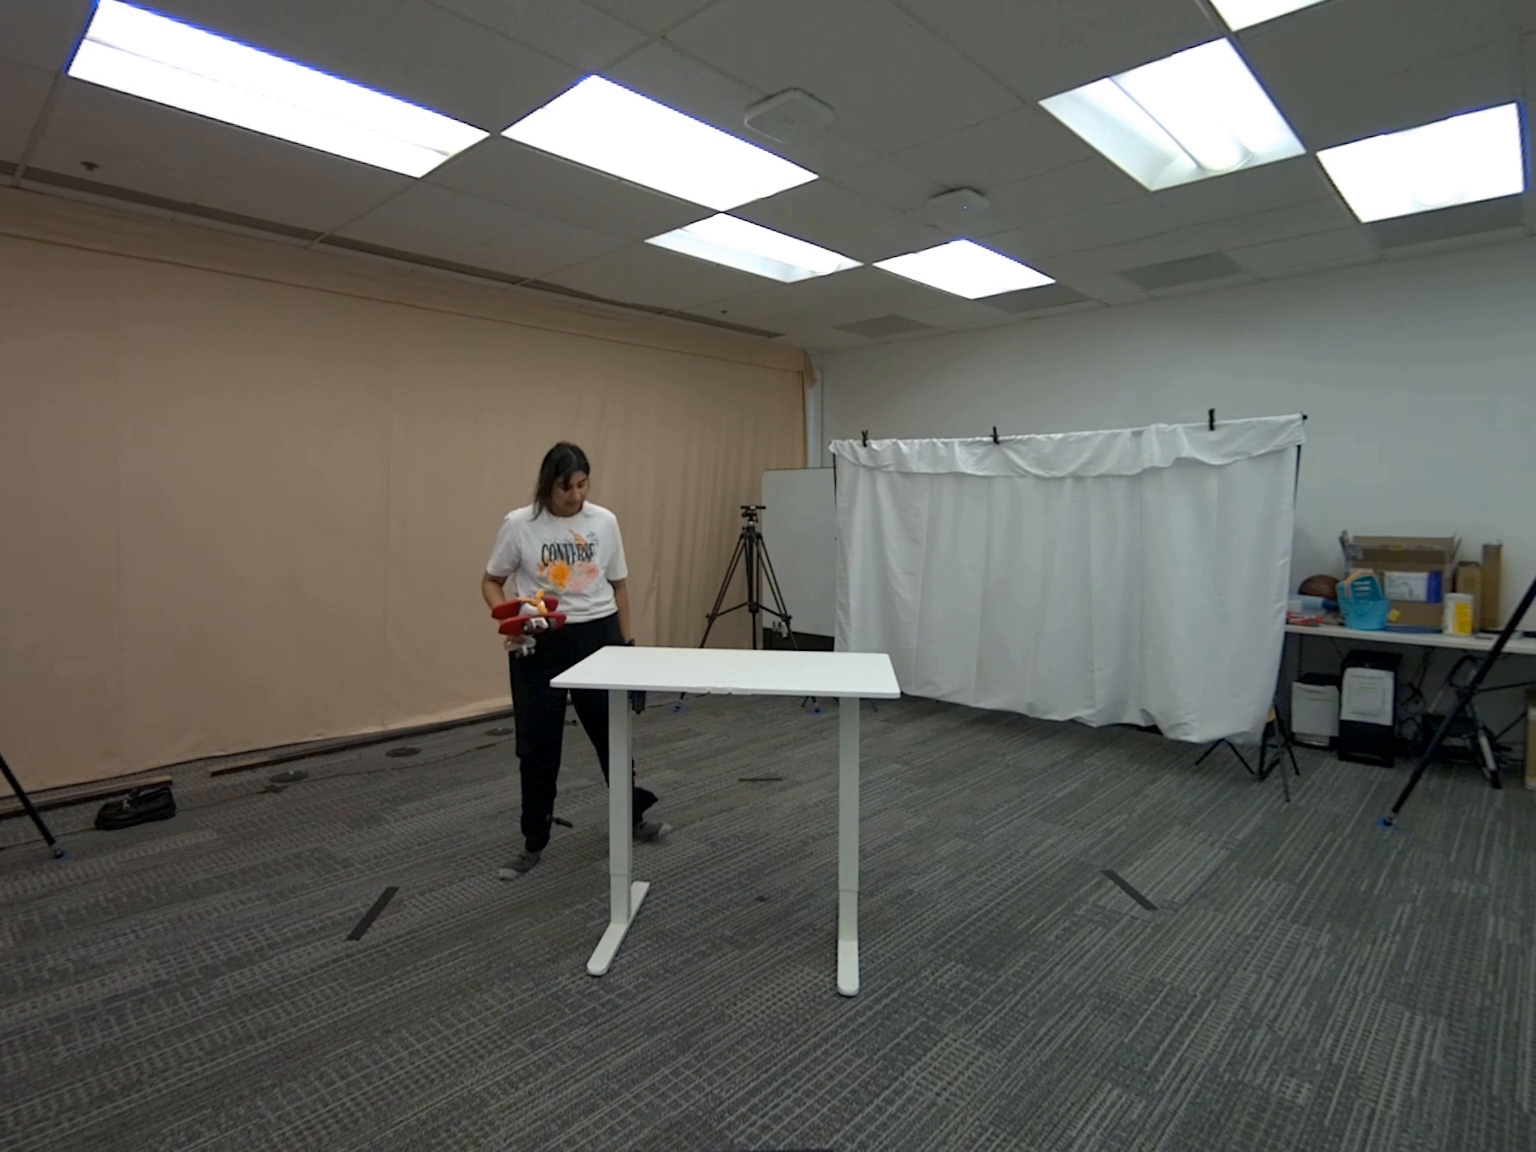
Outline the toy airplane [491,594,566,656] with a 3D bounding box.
[{"bbox_3d":[-0.877,0.182,3.036,0.262,0.160,0.243,-32,-23,18],"label":"toy airplane"}]
